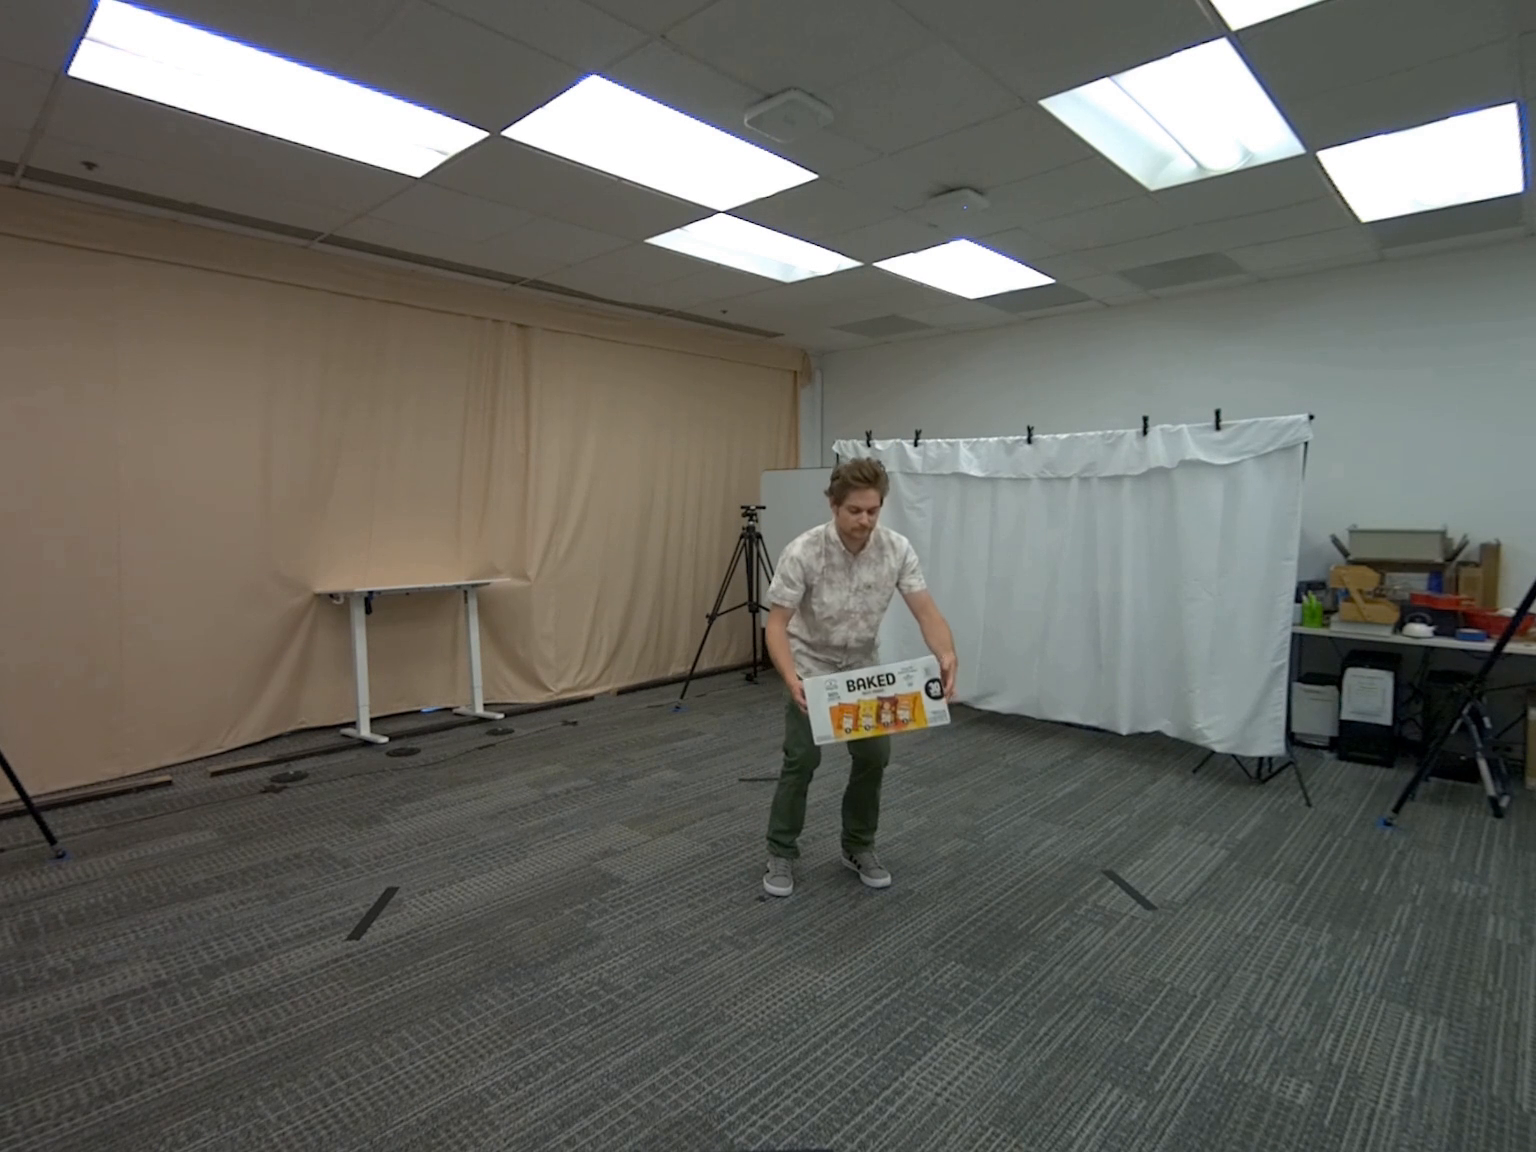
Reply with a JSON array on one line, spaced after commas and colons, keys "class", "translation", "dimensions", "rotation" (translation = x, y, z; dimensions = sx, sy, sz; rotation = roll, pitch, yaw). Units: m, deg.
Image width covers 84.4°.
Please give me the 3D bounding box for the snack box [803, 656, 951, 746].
[{"class": "snack box", "translation": [0.343, 0.390, 2.672], "dimensions": [0.409, 0.207, 0.335], "rotation": [-11, -8, 9]}]
